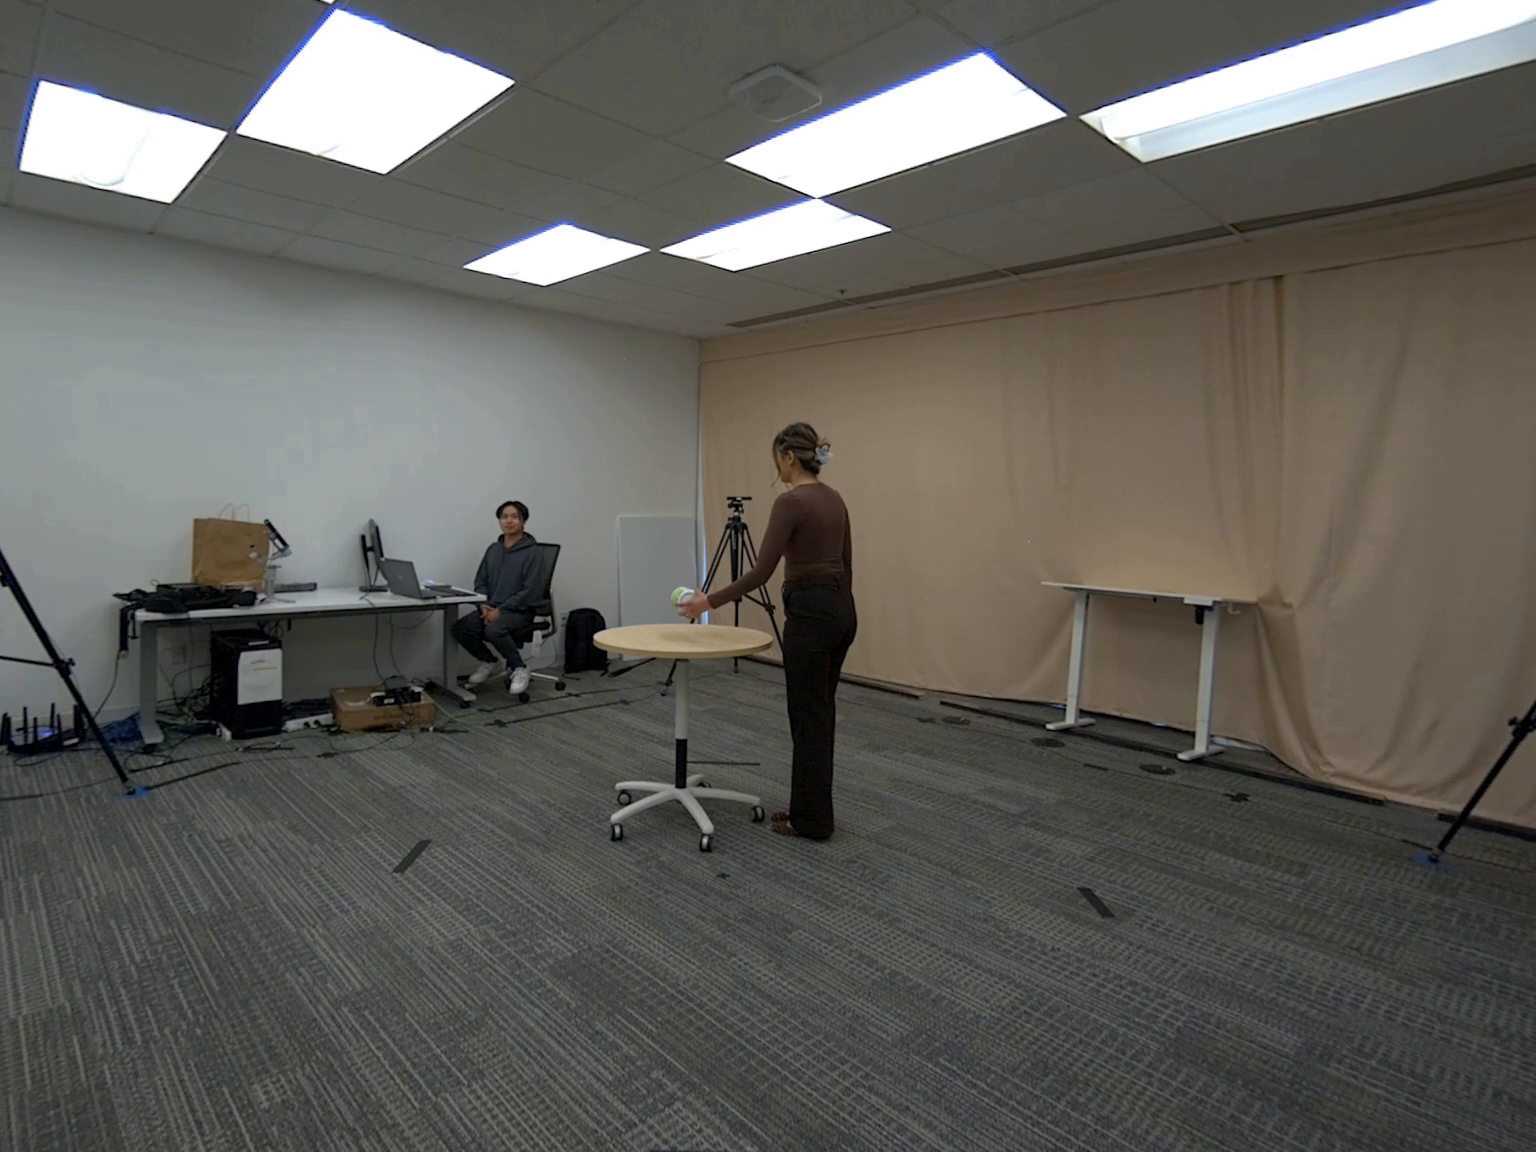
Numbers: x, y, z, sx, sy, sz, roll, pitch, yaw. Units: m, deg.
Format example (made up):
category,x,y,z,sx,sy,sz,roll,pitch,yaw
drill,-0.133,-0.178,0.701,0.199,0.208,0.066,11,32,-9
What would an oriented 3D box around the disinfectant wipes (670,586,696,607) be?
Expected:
category,x,y,z,sx,sy,sz,roll,pitch,yaw
disinfectant wipes,-0.350,0.106,3.601,0.116,0.117,0.220,0,4,-15
